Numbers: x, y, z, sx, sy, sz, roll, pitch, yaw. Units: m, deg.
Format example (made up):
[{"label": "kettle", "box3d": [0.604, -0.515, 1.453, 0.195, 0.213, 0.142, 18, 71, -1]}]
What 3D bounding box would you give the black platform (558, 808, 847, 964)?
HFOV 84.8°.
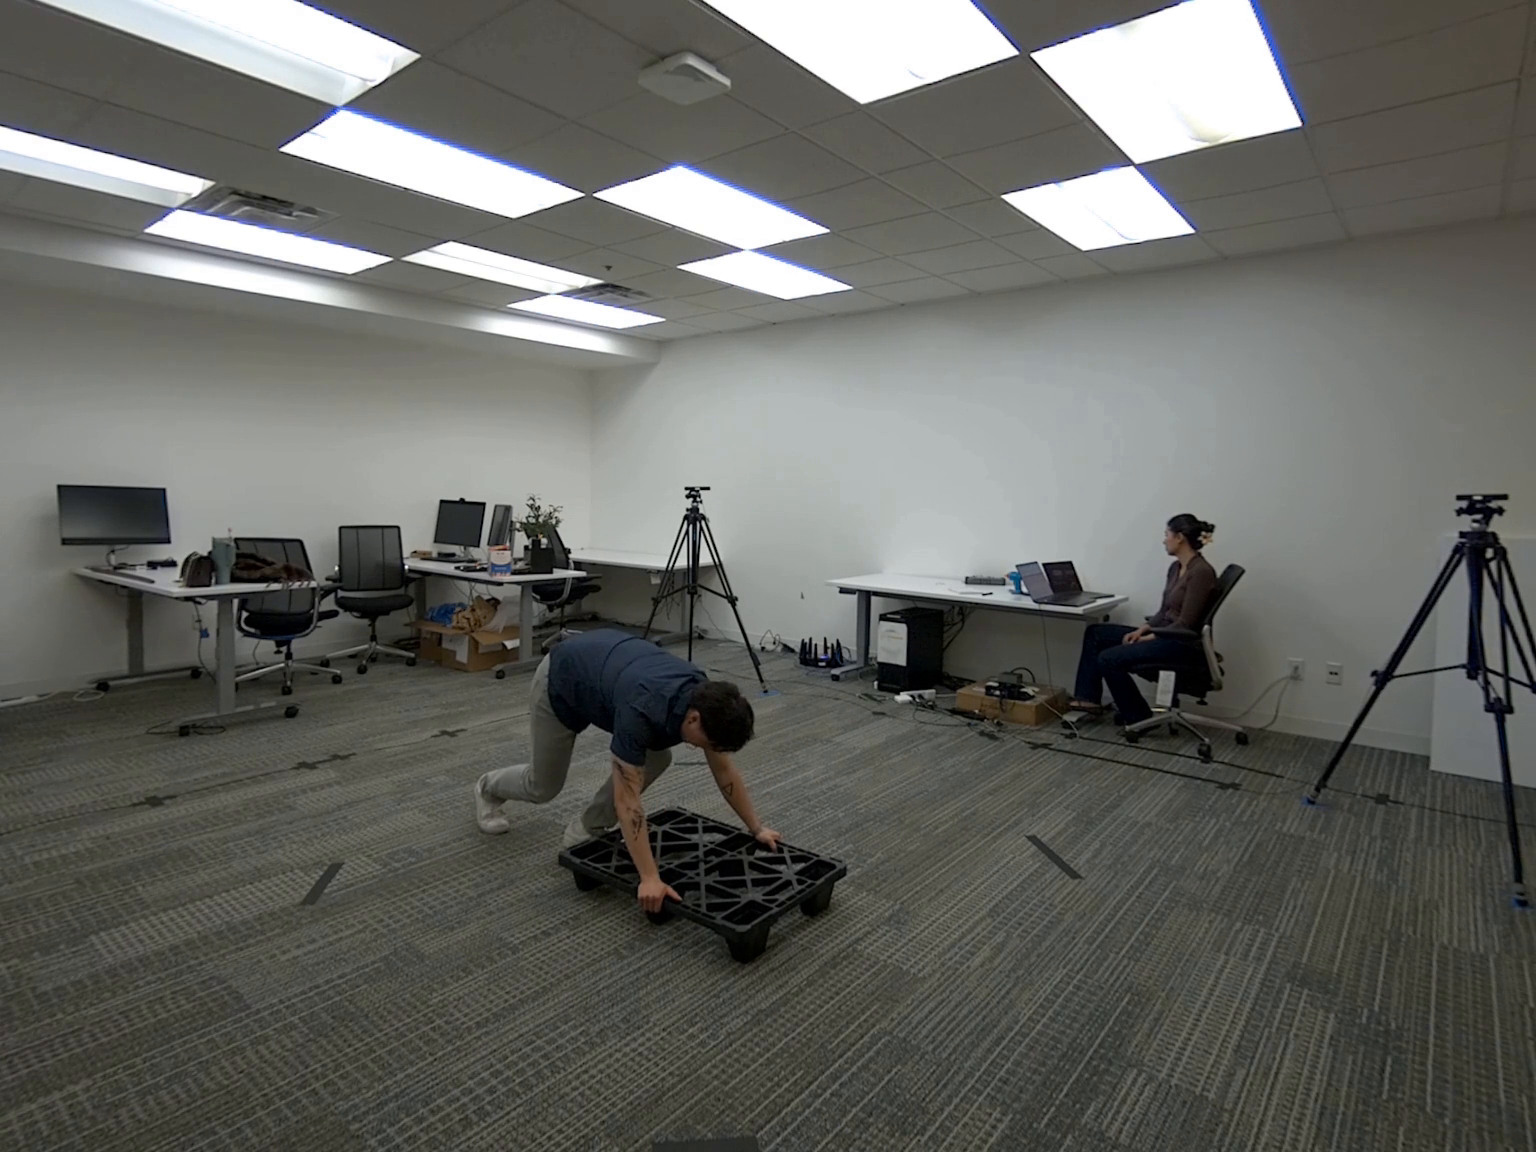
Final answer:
[{"label": "black platform", "box3d": [-0.233, 1.021, 2.879, 0.832, 0.143, 0.588, 5, 7, 37]}]
